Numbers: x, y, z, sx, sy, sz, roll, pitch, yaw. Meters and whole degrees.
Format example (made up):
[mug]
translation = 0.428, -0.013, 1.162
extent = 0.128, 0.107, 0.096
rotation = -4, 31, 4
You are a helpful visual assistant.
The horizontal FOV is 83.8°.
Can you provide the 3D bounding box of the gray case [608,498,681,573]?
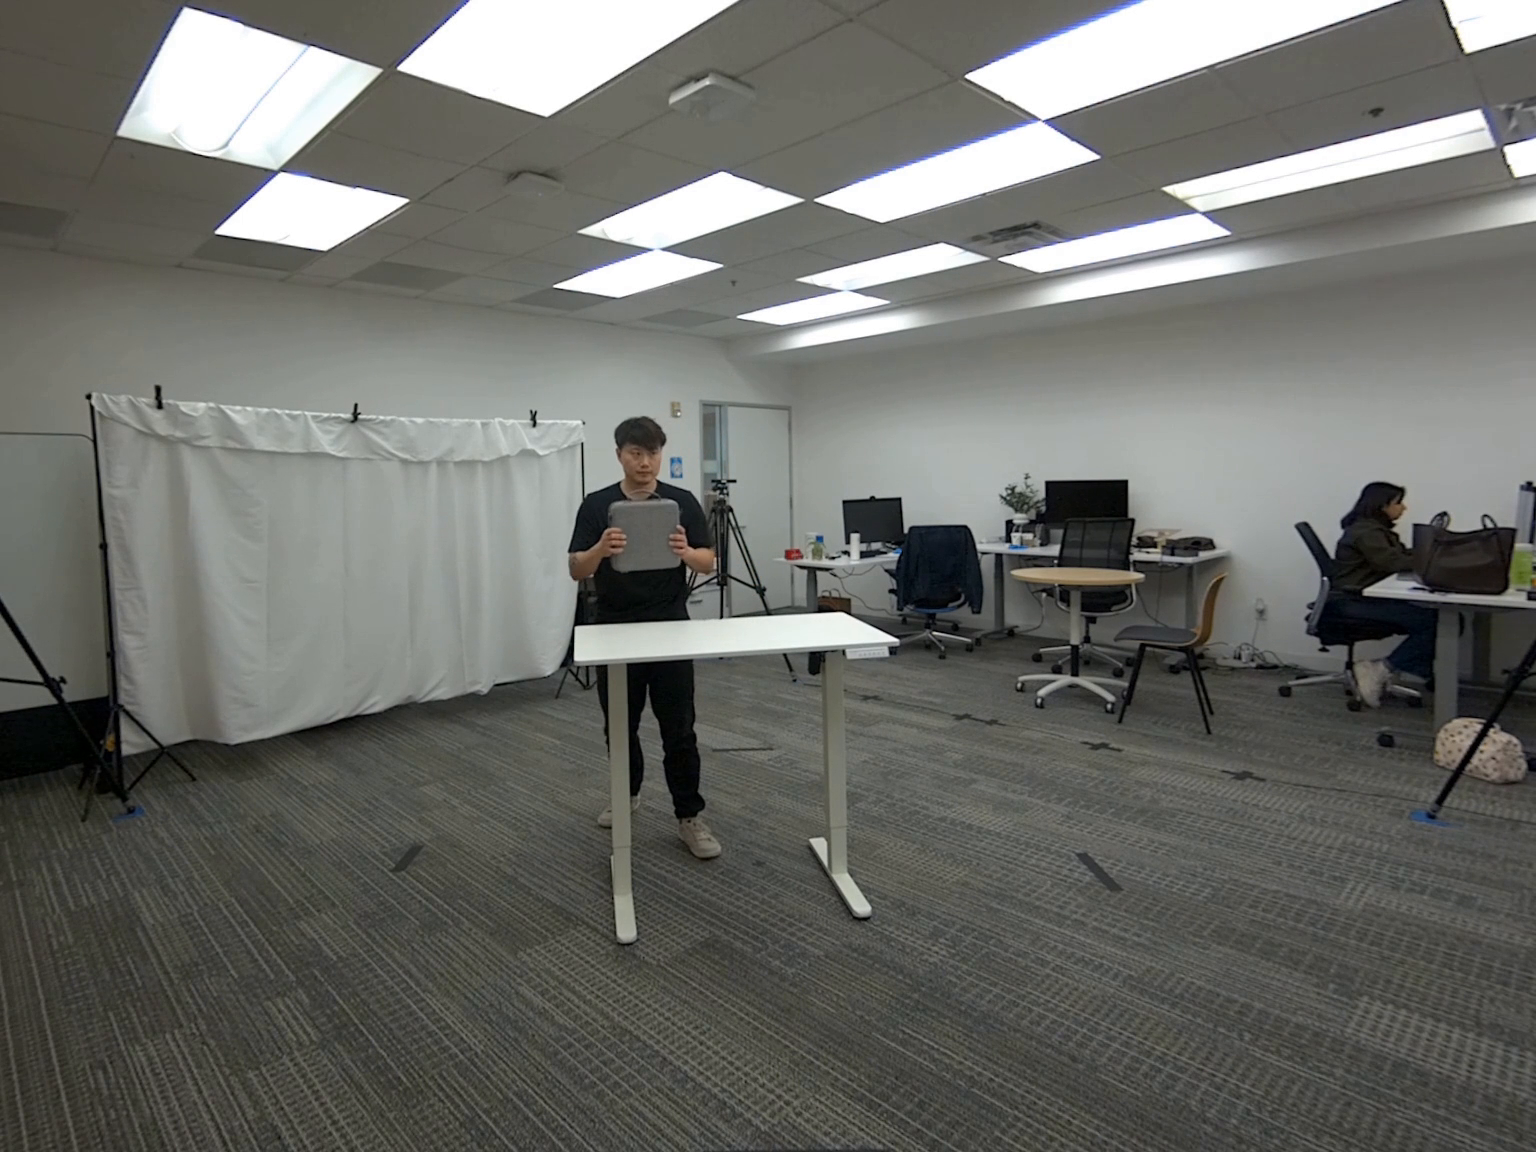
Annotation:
[gray case]
translation = -0.454, -0.153, 3.146
extent = 0.253, 0.258, 0.106
rotation = -5, 9, -15
